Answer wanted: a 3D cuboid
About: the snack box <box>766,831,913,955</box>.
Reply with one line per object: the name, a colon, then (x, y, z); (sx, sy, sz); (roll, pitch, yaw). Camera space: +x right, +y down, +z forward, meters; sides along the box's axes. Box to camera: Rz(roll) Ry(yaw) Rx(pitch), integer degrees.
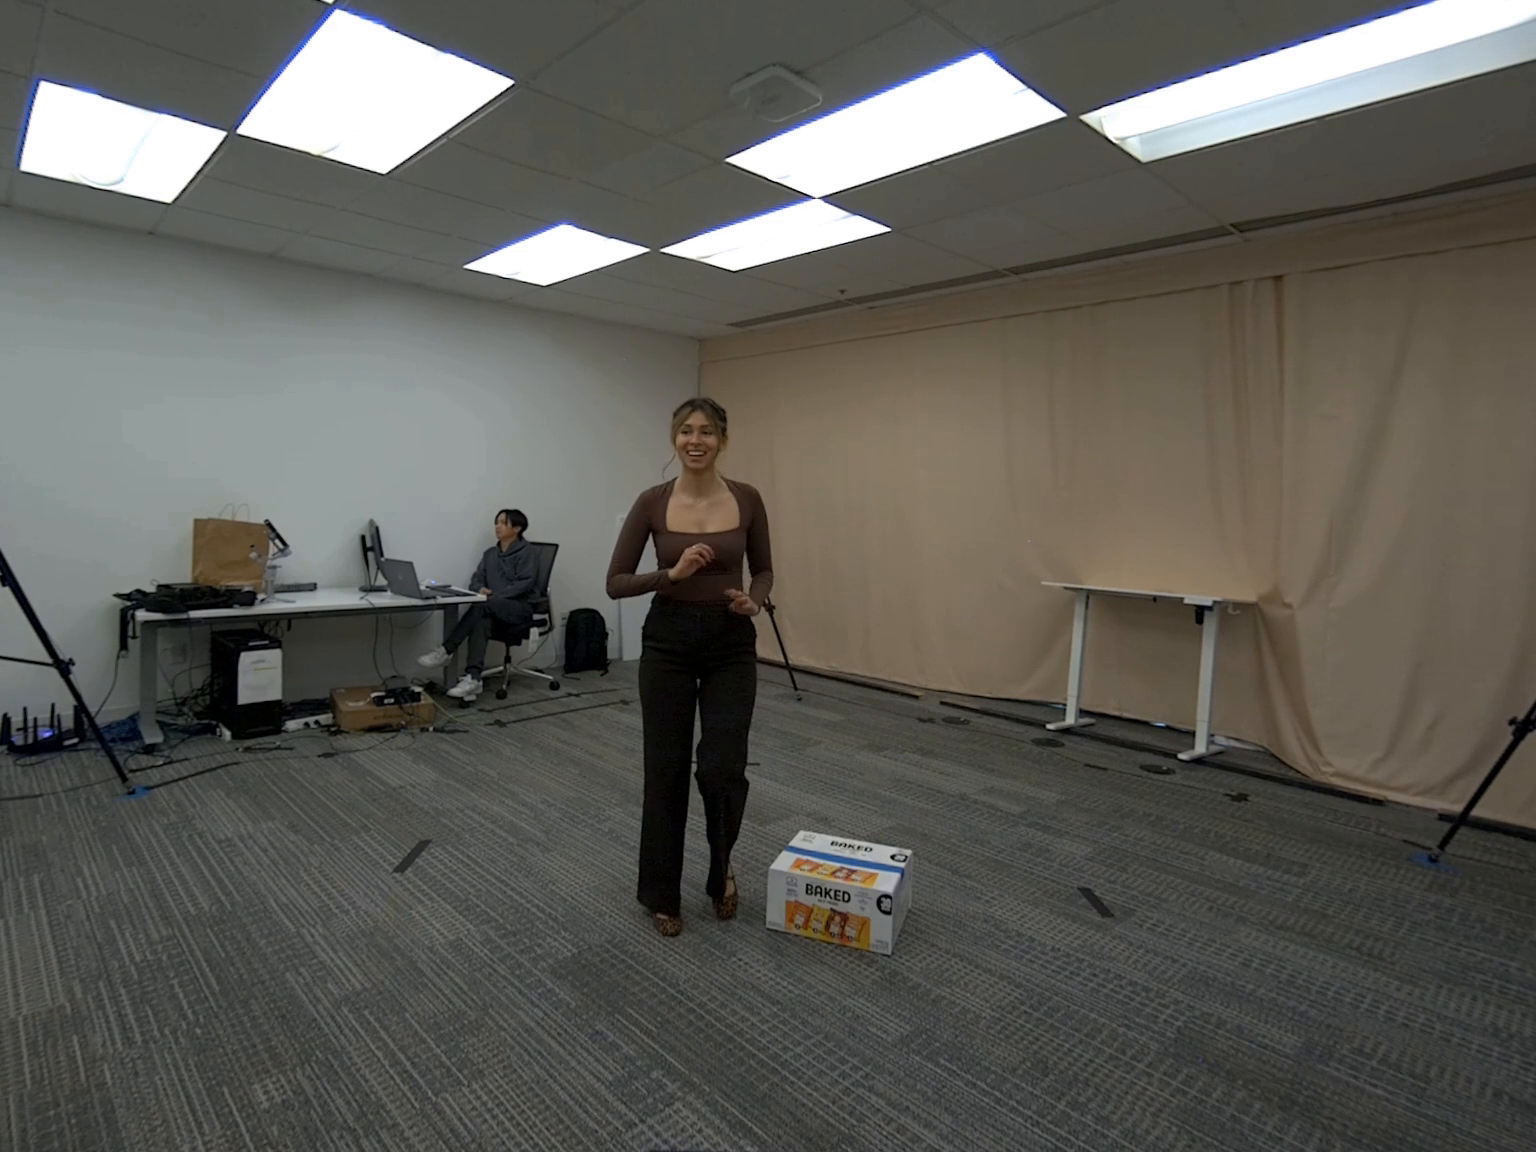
snack box: (0.241, 1.040, 2.796); (0.412, 0.205, 0.336); (3, 5, 21)
